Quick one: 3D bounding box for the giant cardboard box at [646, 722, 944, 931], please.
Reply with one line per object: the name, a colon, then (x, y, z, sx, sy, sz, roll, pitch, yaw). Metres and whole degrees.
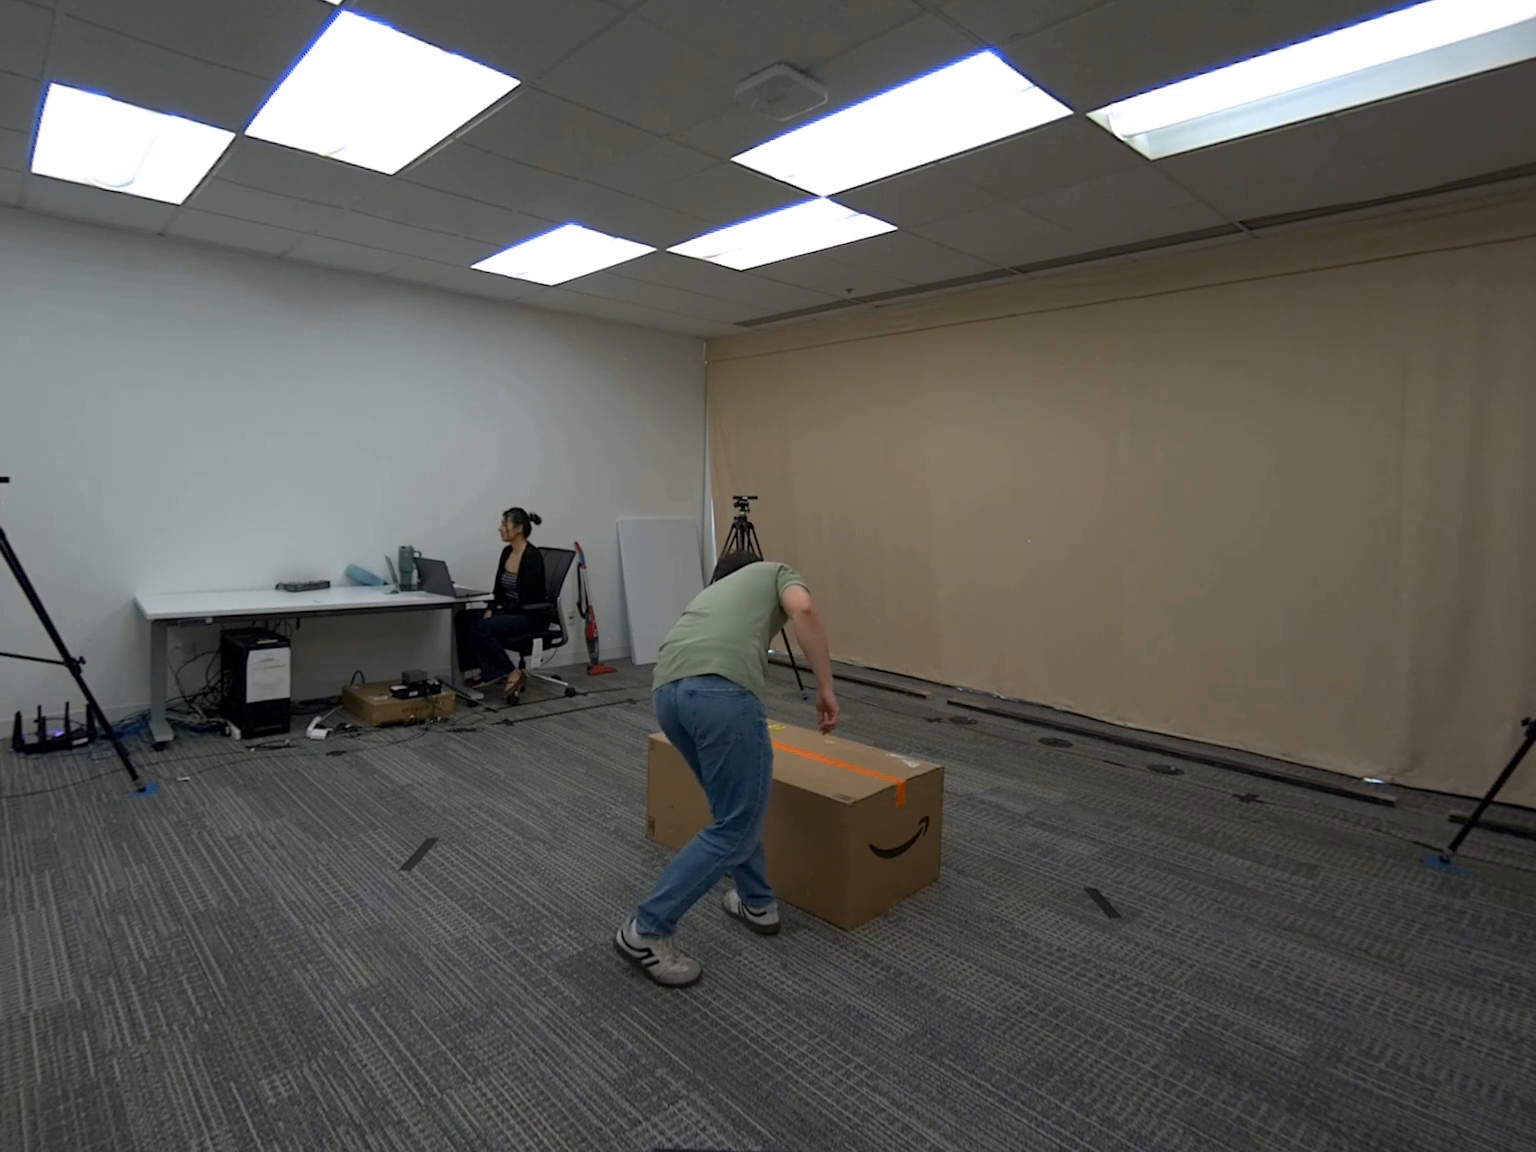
giant cardboard box: (0.069, 0.881, 3.259, 1.052, 0.425, 0.564, 6, 6, 43)
